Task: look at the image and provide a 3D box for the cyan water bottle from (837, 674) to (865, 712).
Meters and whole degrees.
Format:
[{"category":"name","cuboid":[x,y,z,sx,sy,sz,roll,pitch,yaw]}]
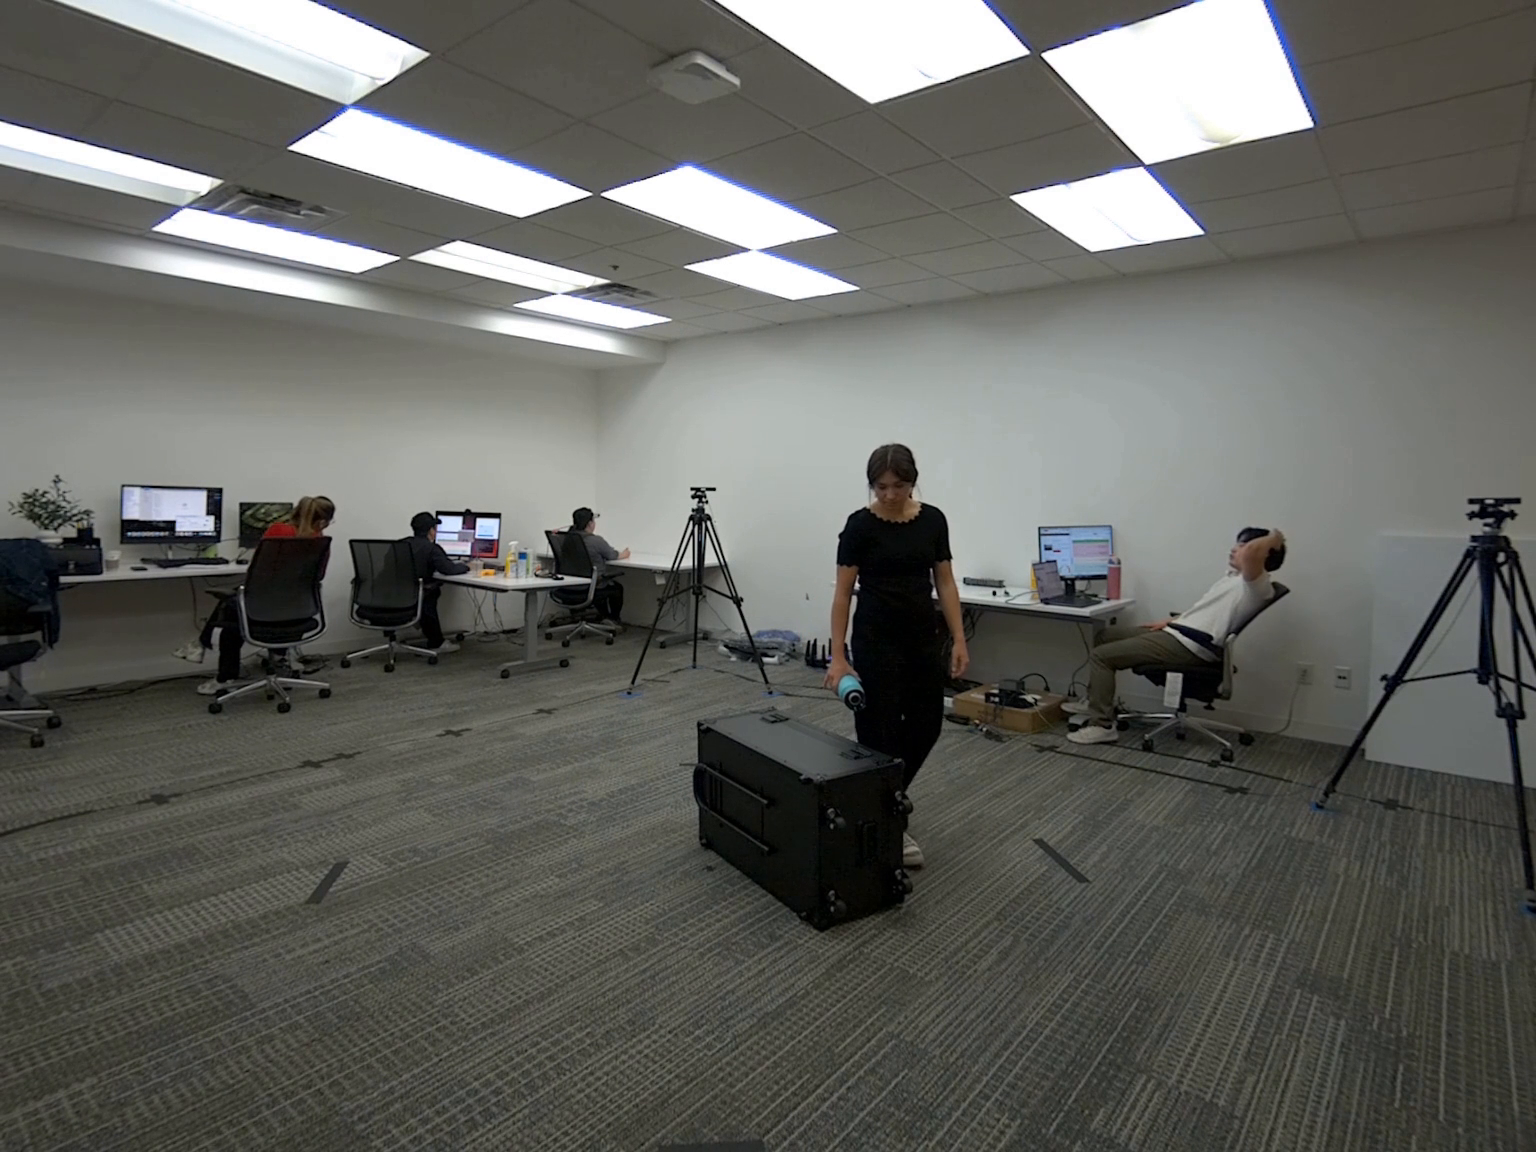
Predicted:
[{"category":"cyan water bottle","cuboid":[0.296,0.410,3.195,0.091,0.091,0.290,0,18,-11]}]
